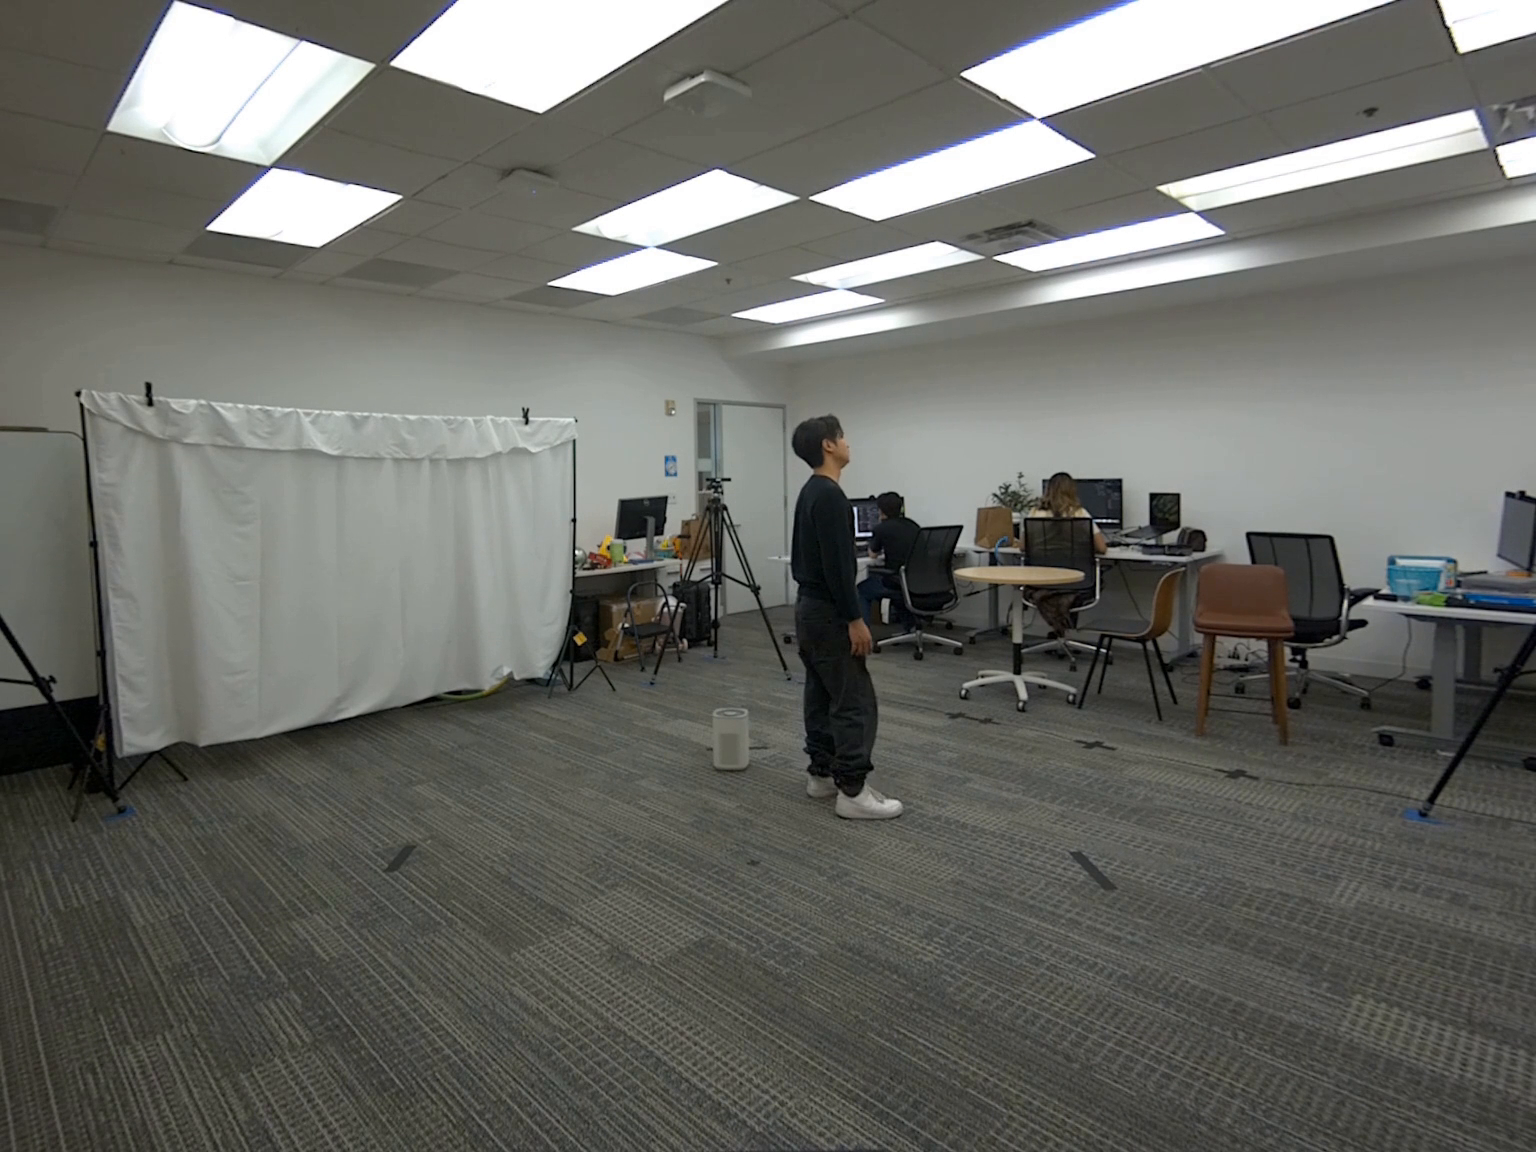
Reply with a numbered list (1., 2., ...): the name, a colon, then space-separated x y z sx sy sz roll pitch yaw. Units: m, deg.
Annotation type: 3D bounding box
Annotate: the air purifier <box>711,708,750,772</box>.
1. air purifier: -0.182 0.798 4.169 0.172 0.264 0.171 -1 5 5
